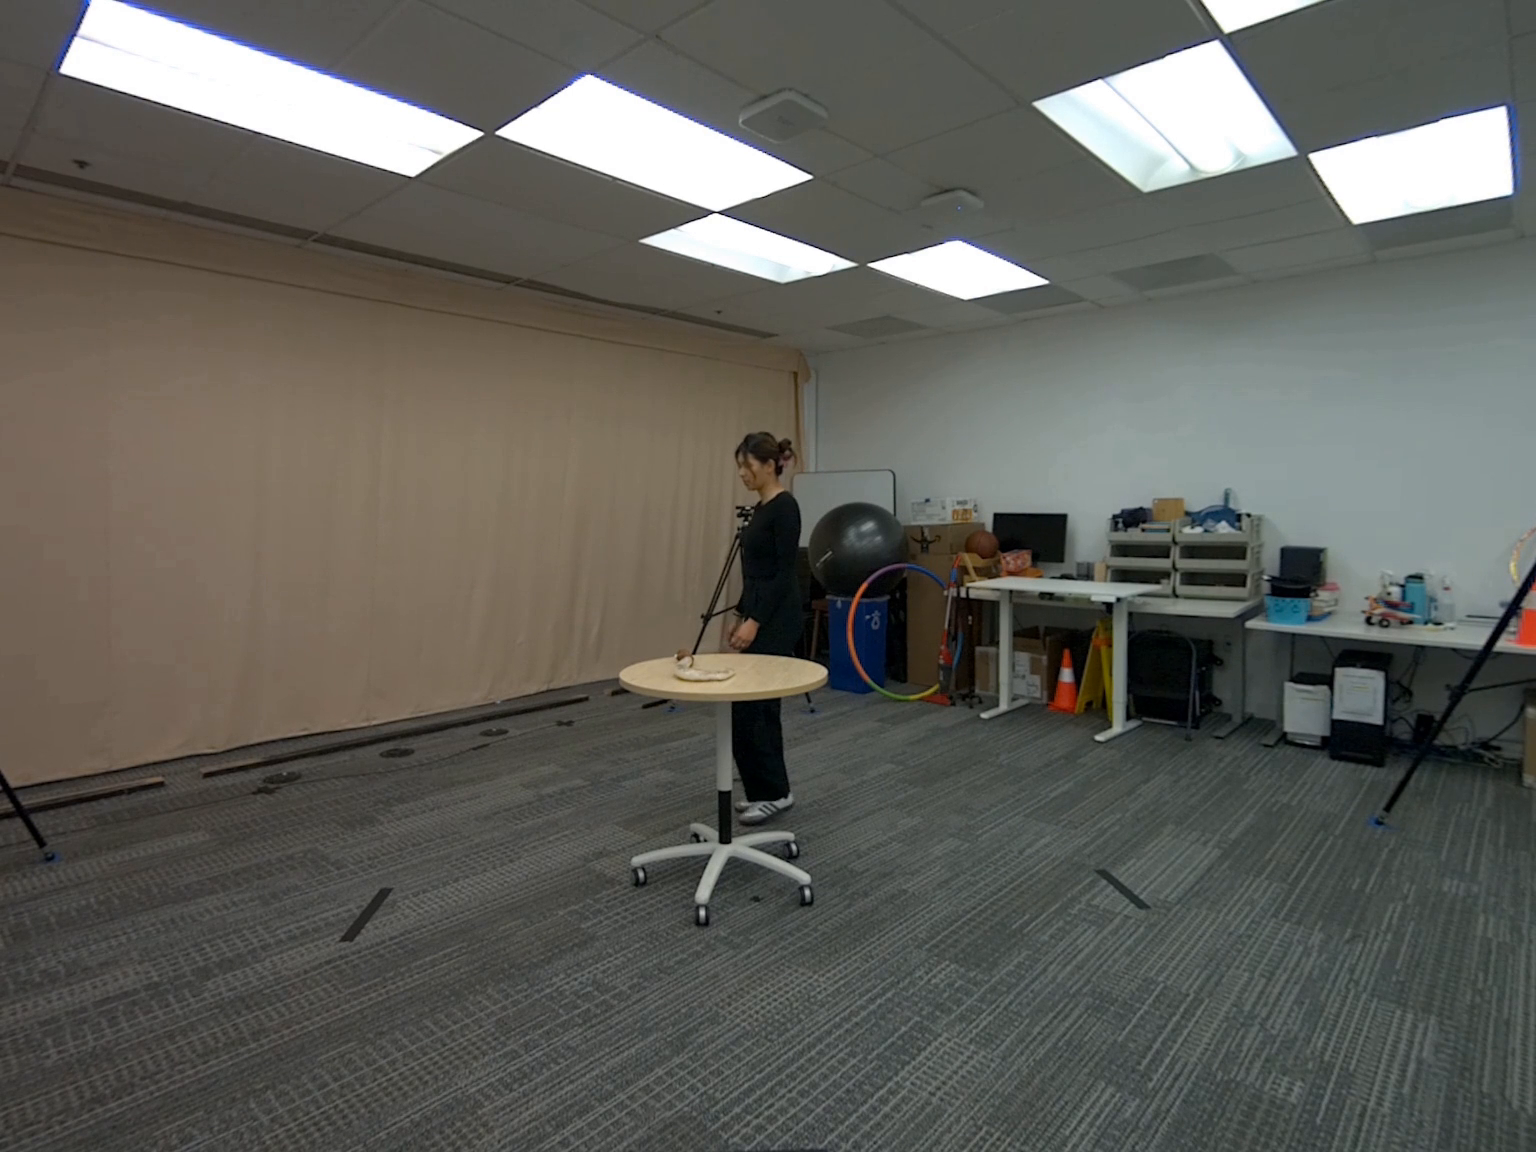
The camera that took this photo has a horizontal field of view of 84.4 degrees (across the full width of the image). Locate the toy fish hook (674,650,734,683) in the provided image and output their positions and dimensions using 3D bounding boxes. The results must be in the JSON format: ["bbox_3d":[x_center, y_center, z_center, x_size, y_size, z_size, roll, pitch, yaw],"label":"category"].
[{"bbox_3d":[-0.245,0.337,3.160,0.222,0.048,0.512,6,4,-10],"label":"toy fish hook"}]
